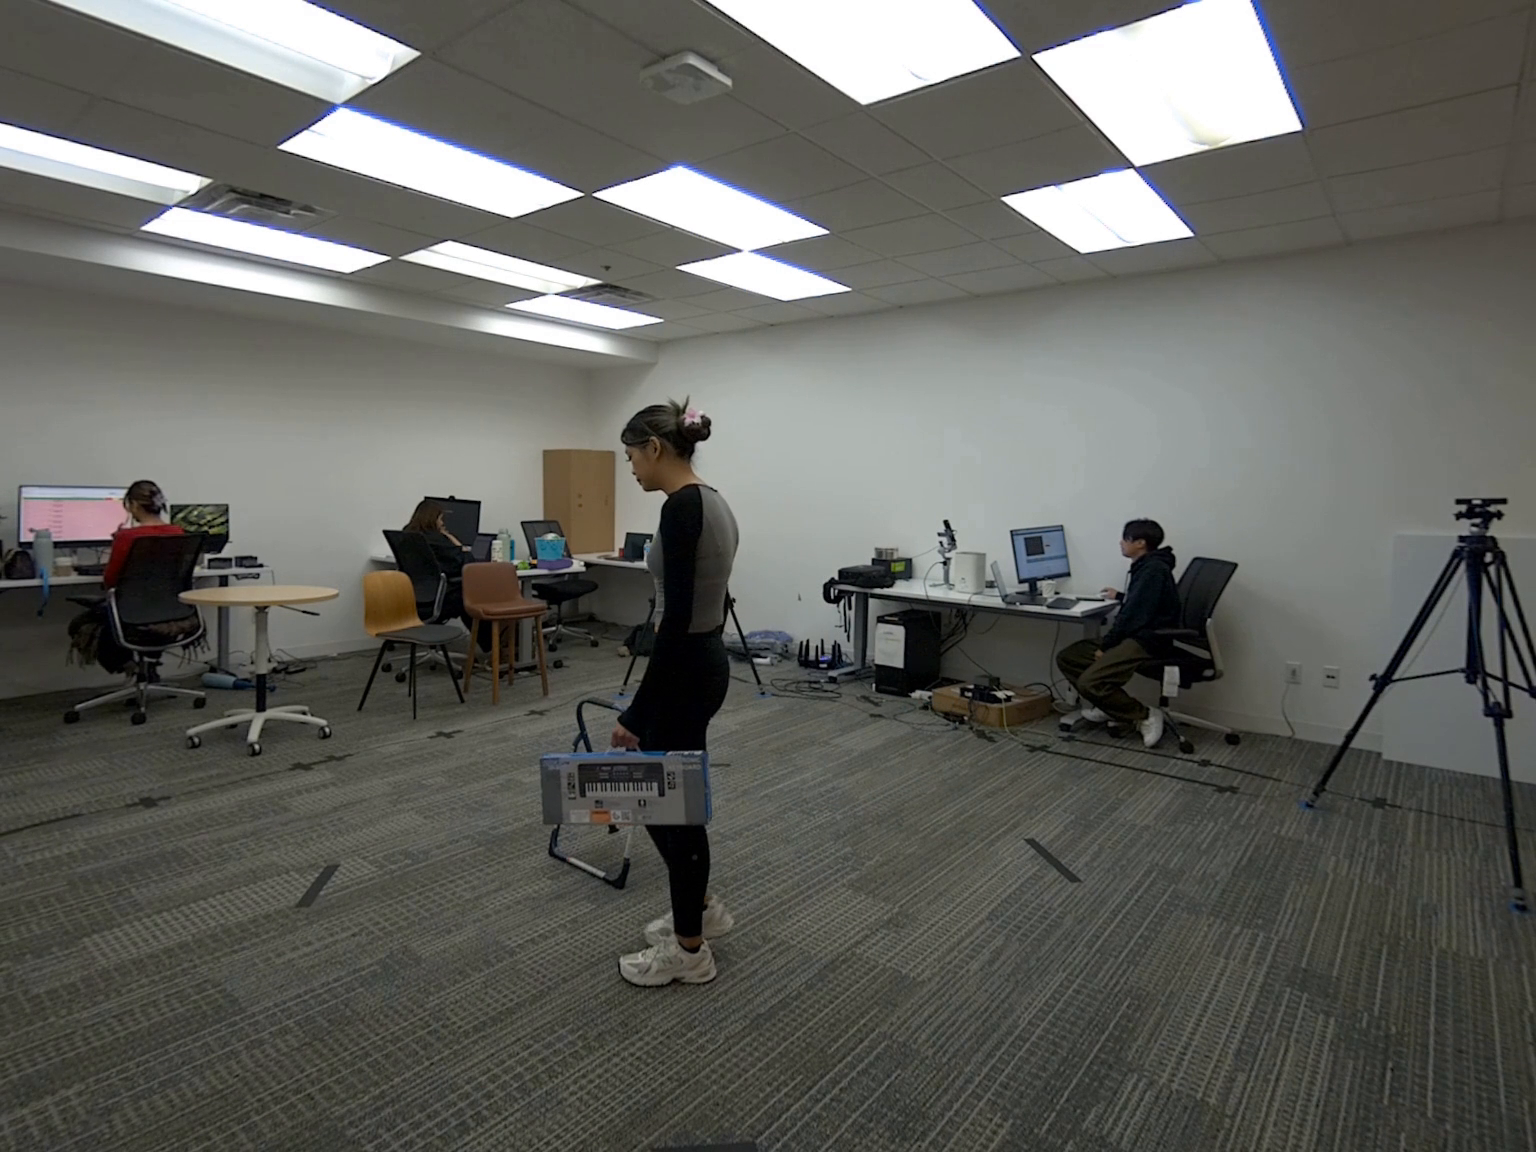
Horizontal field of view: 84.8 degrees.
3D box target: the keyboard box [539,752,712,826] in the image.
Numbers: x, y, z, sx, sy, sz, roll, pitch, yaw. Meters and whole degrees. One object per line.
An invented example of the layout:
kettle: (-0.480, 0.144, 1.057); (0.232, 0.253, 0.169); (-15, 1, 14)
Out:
keyboard box: (-0.371, 0.535, 2.177); (0.442, 0.176, 0.058); (-4, -3, 11)
